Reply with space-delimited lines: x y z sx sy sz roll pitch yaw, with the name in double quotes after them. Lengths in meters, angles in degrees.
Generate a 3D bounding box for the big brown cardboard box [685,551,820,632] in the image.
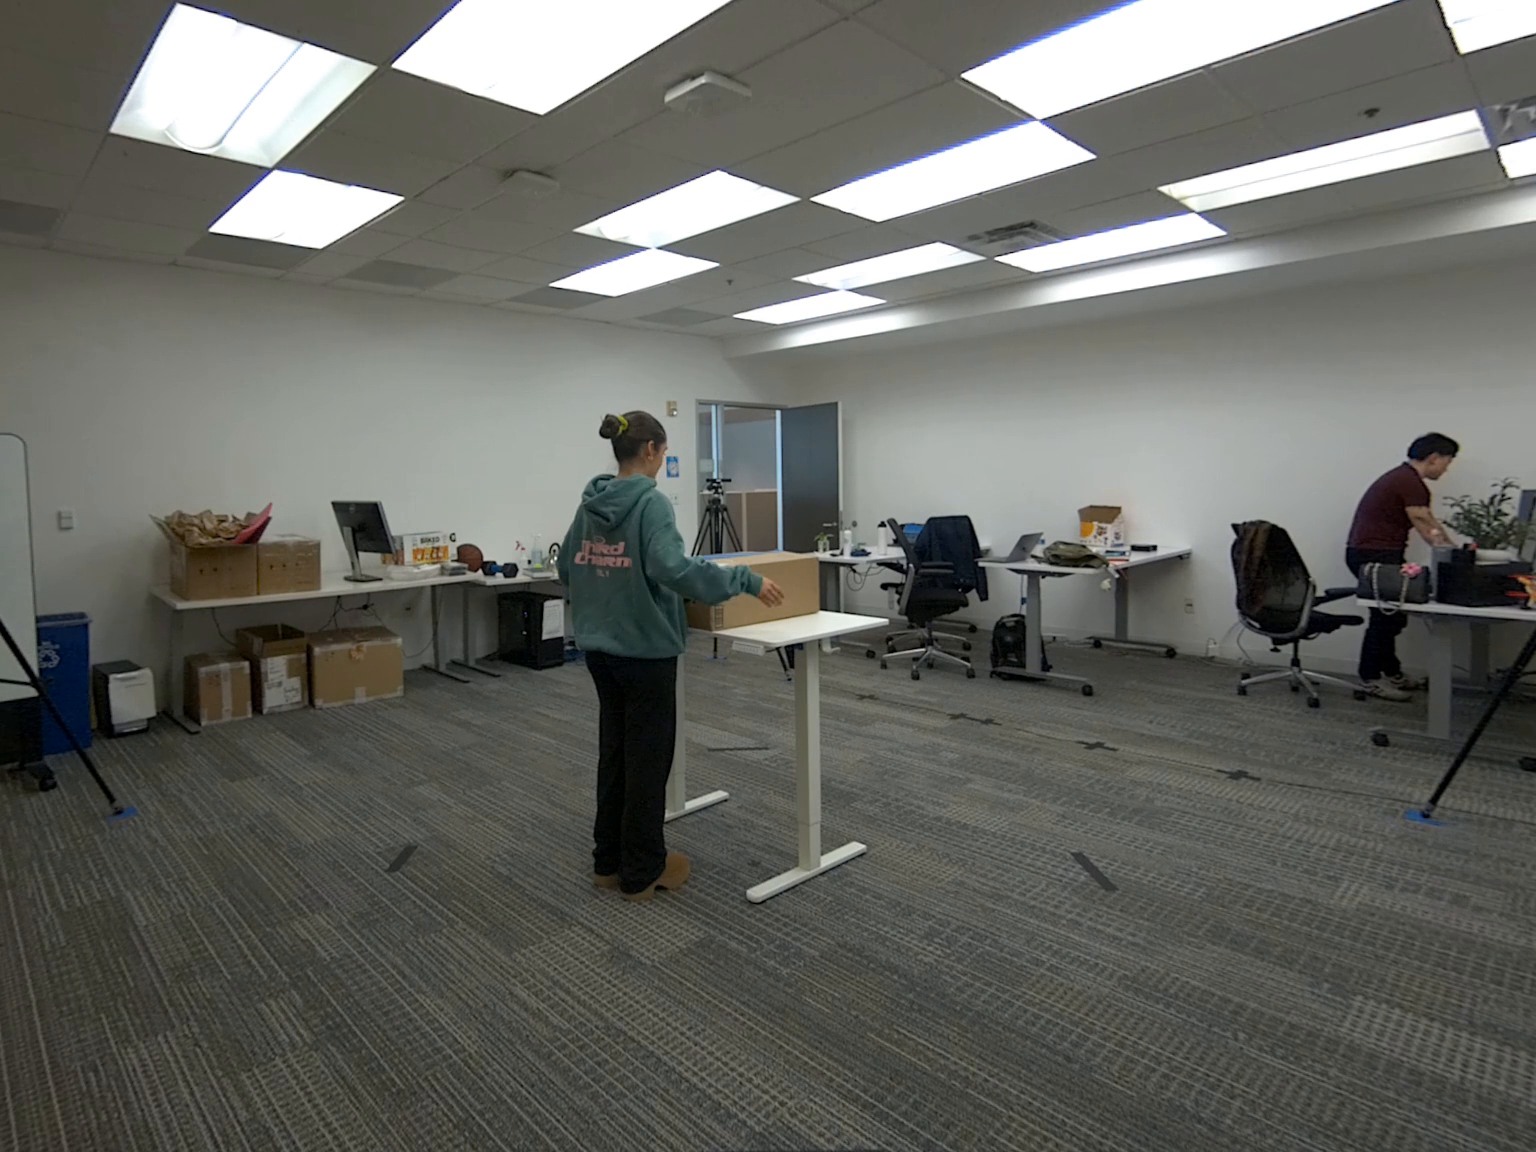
-0.145 0.042 3.216 0.430 0.232 0.573 4 7 44 "big brown cardboard box"
